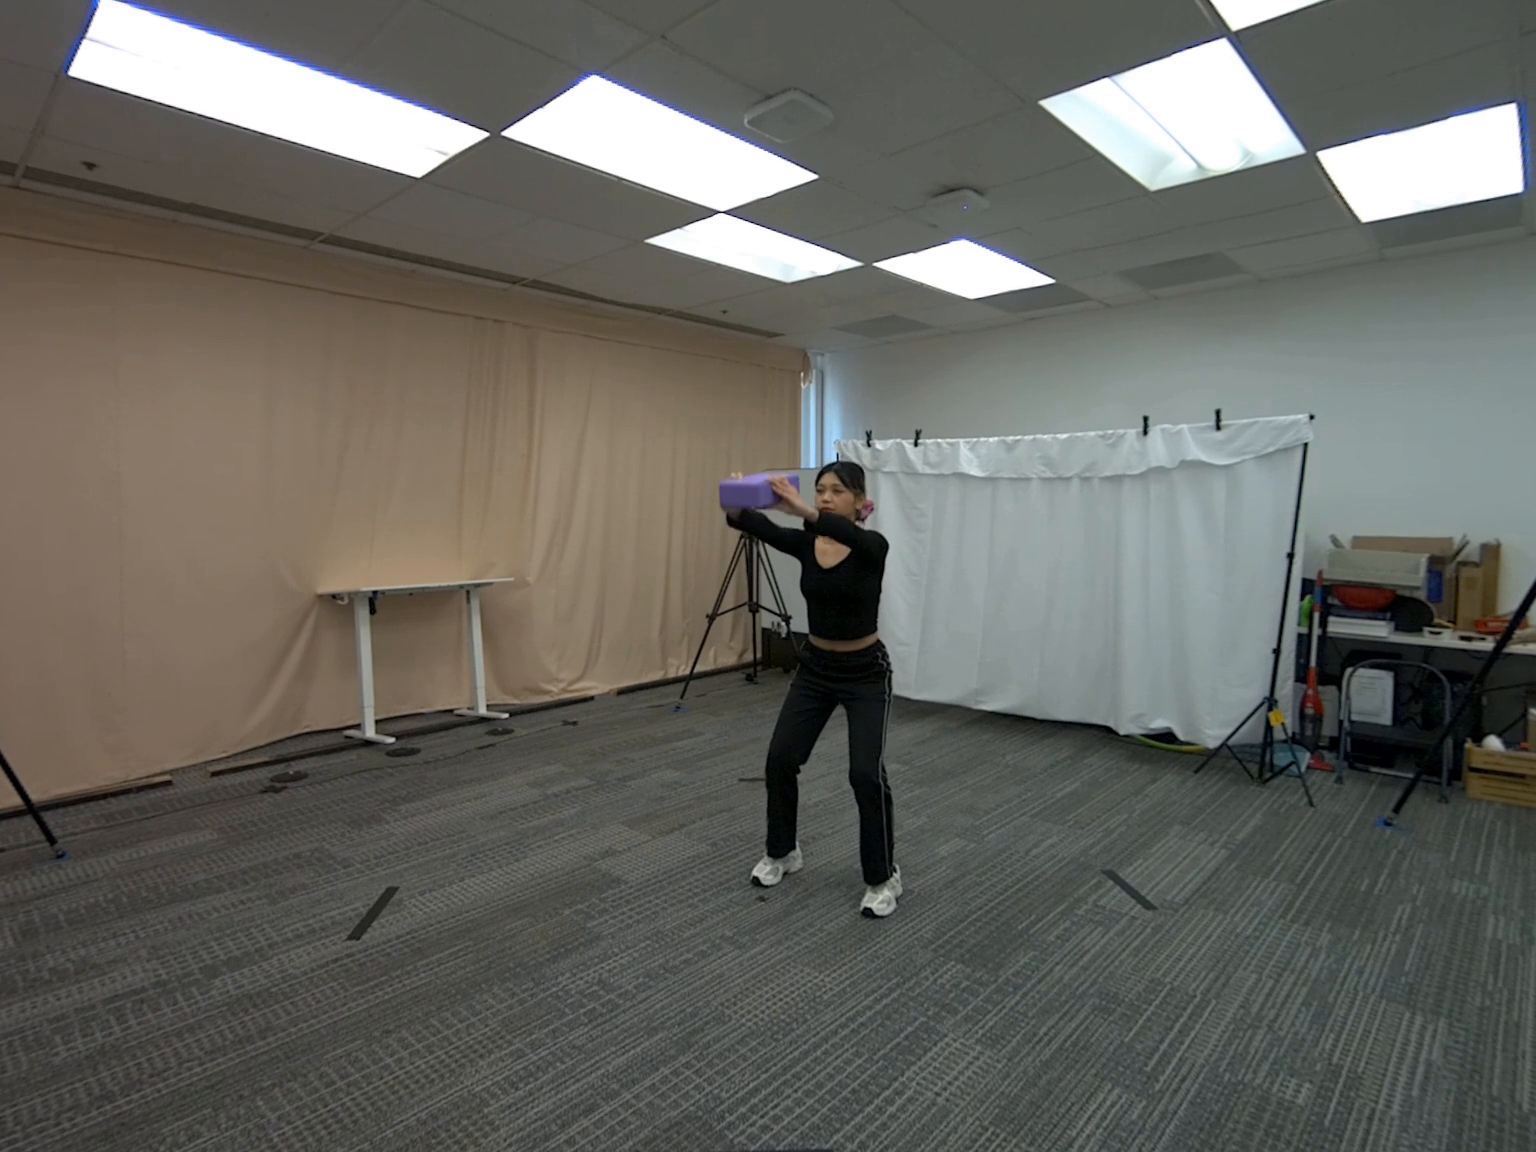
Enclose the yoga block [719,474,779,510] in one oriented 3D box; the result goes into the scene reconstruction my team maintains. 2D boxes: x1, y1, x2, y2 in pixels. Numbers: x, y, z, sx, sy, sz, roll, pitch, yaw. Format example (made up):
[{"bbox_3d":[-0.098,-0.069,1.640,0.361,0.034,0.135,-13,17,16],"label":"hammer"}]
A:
[{"bbox_3d":[-0.009,-0.262,2.523,0.153,0.076,0.224,2,11,29],"label":"yoga block"}]
